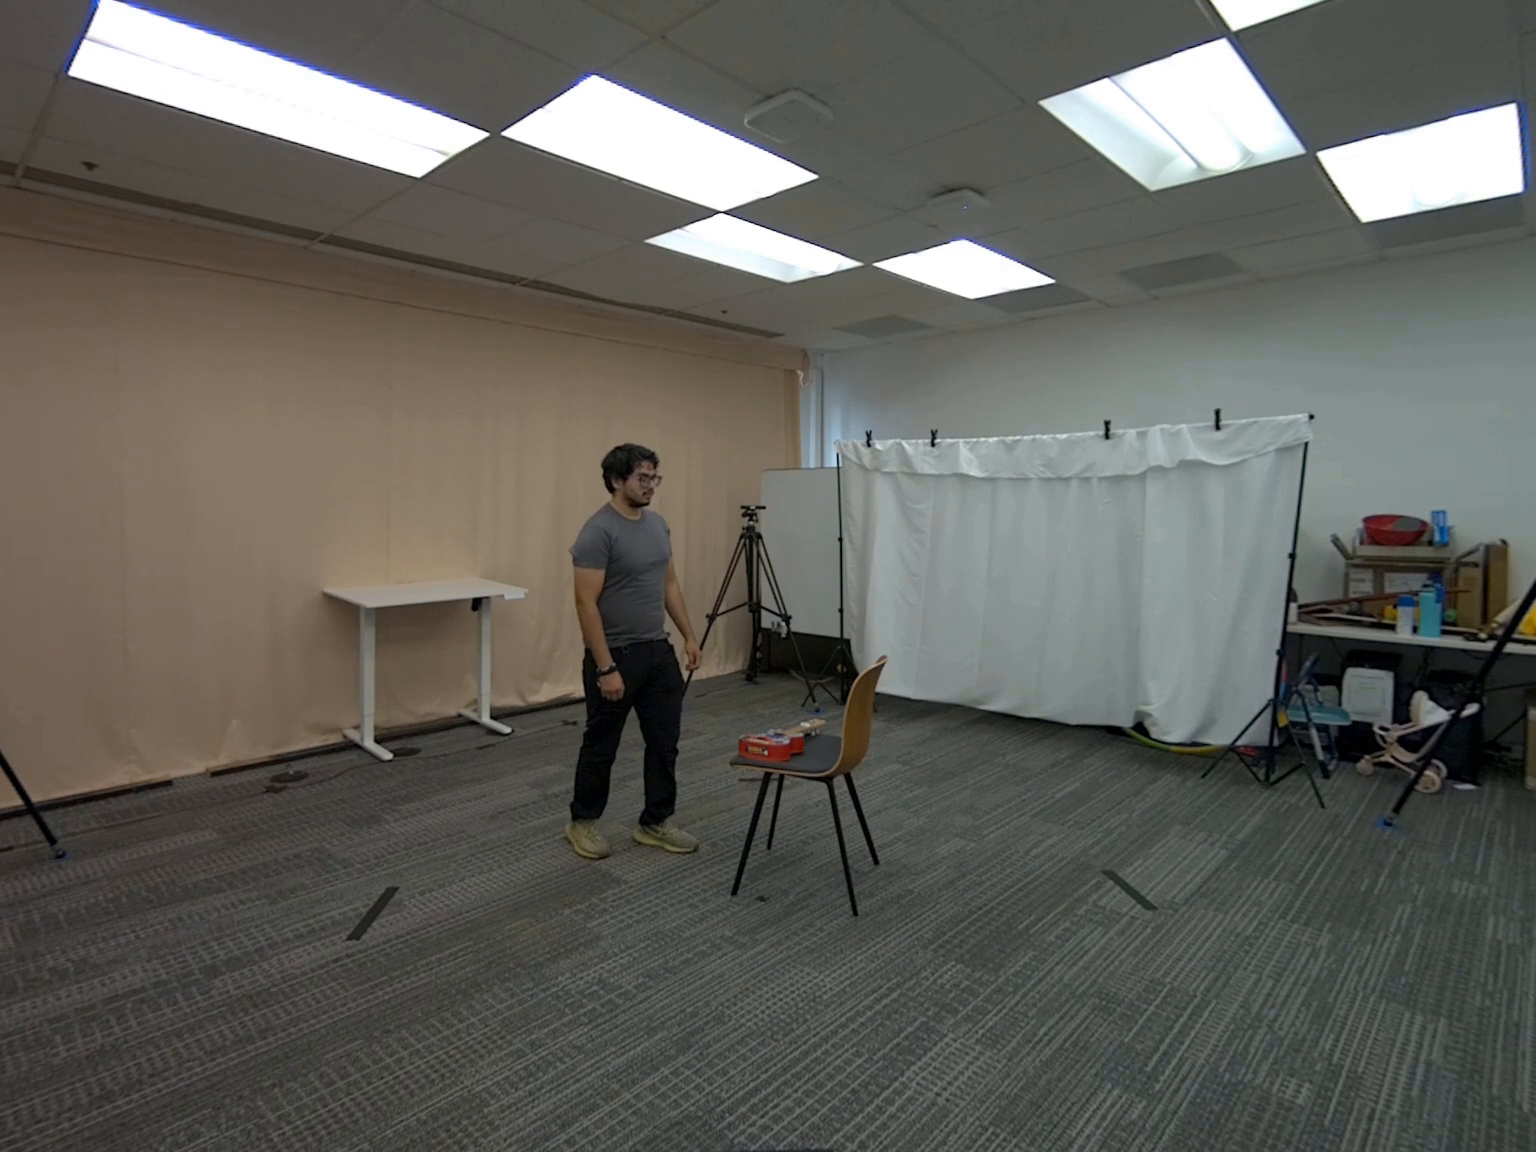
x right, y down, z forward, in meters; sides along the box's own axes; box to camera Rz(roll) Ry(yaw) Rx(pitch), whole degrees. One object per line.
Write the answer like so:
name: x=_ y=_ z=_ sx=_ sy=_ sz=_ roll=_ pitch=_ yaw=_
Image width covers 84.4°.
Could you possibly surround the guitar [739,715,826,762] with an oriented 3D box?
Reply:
guitar: x=0.108 y=0.618 z=3.155 sx=0.199 sy=0.070 sz=0.482 roll=3 pitch=3 yaw=42
